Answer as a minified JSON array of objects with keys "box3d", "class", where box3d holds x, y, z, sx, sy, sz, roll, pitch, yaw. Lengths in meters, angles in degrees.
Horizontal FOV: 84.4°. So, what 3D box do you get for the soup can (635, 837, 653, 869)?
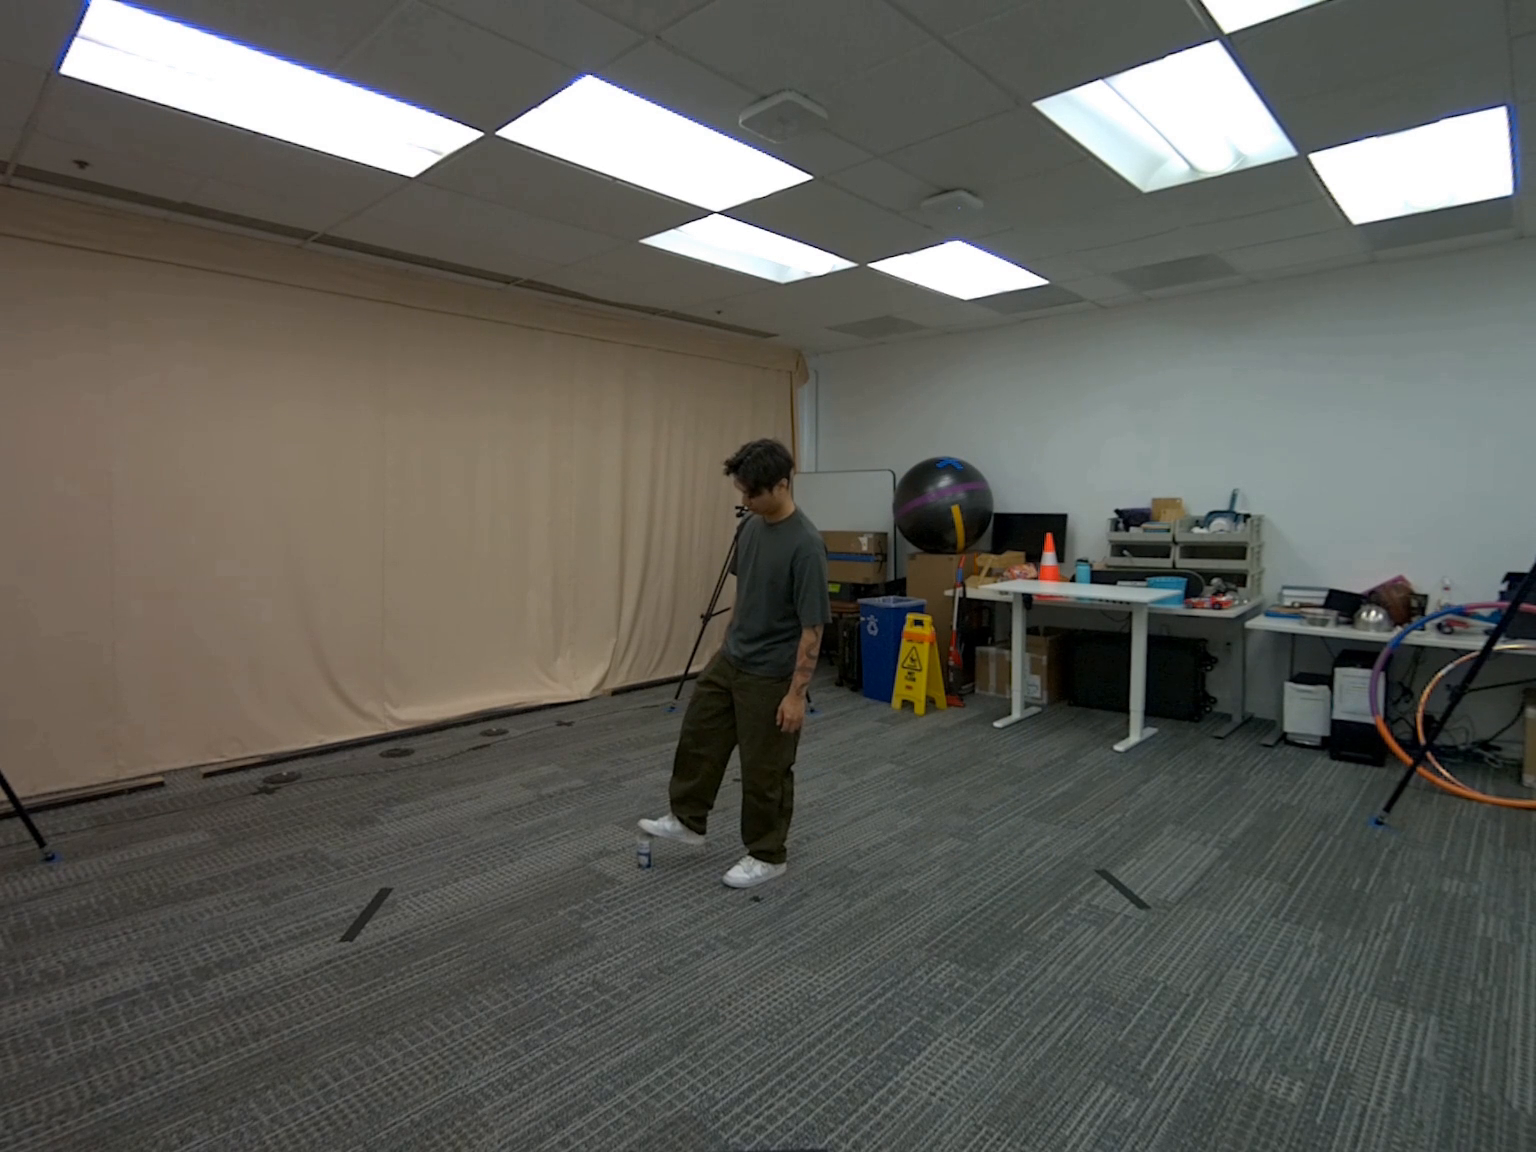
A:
[{"box3d":[-0.475,1.072,3.265,0.067,0.121,0.067,0,3,-2],"class":"soup can"}]
